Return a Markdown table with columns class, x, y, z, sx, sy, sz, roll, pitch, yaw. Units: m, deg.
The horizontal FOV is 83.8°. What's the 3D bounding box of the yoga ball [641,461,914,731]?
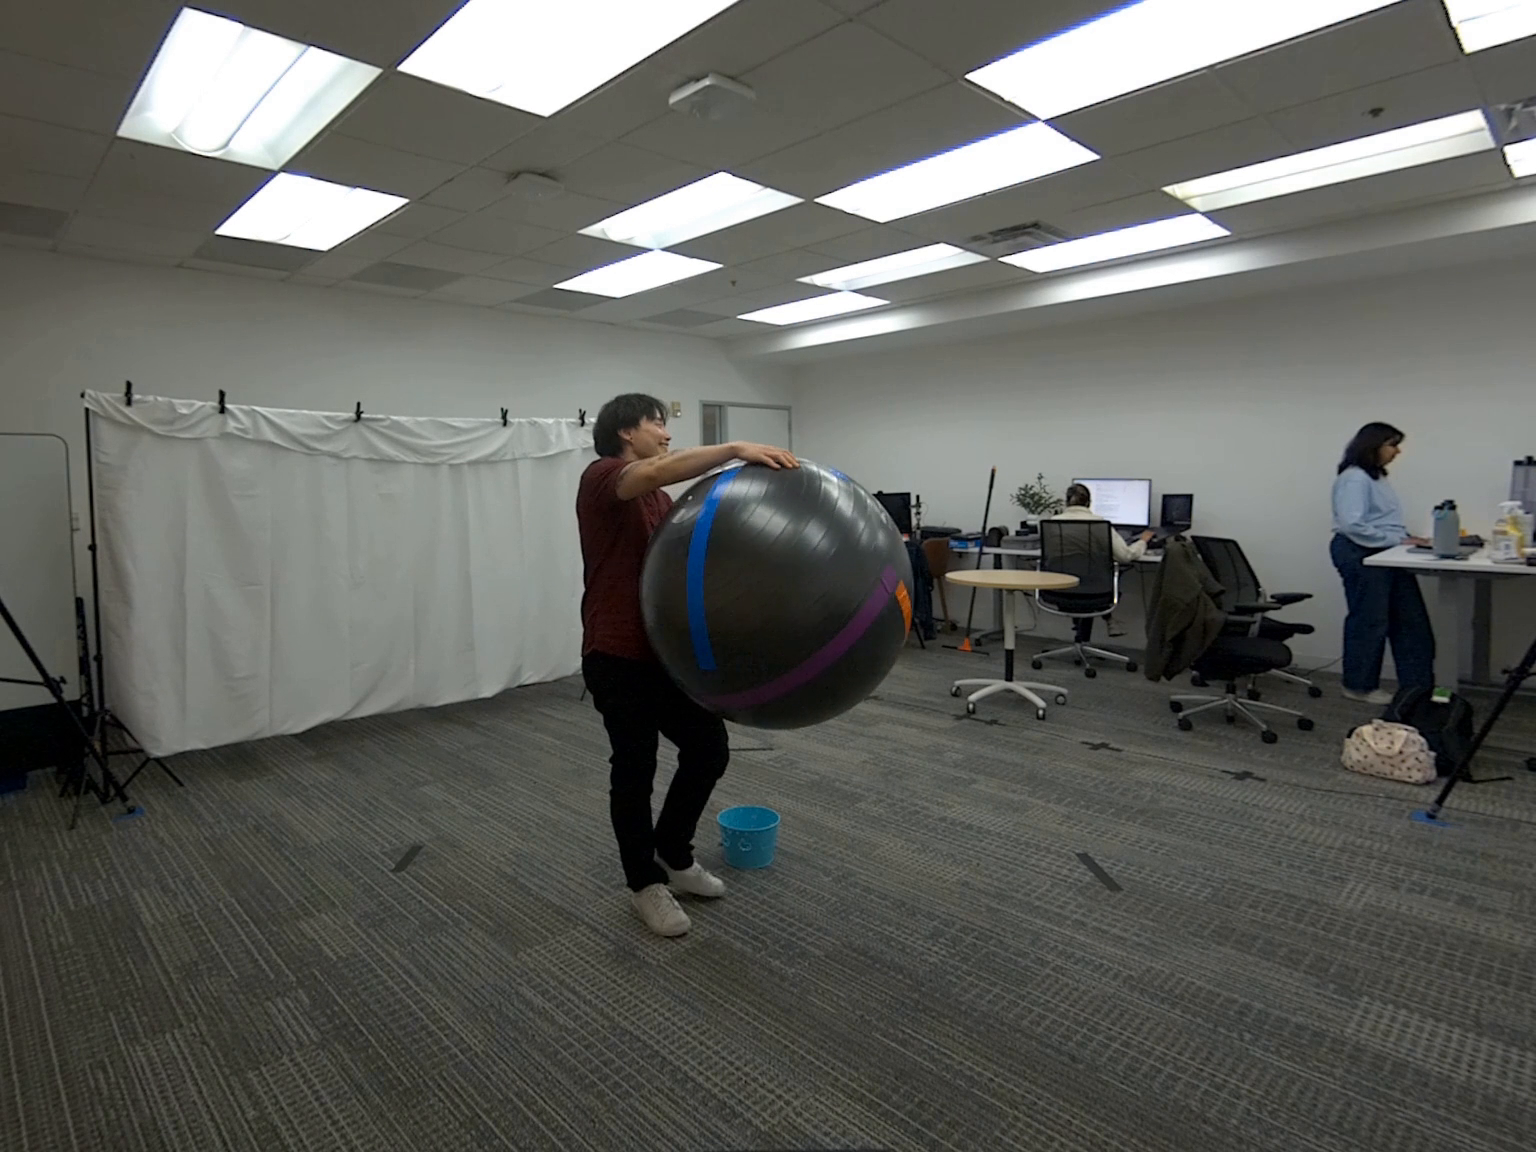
| class | x | y | z | sx | sy | sz | roll | pitch | yaw |
| --- | --- | --- | --- | --- | --- | --- | --- | --- | --- |
| yoga ball | 0.030 | 0.046 | 2.379 | 0.757 | 0.755 | 0.762 | -1 | 5 | -2 |
